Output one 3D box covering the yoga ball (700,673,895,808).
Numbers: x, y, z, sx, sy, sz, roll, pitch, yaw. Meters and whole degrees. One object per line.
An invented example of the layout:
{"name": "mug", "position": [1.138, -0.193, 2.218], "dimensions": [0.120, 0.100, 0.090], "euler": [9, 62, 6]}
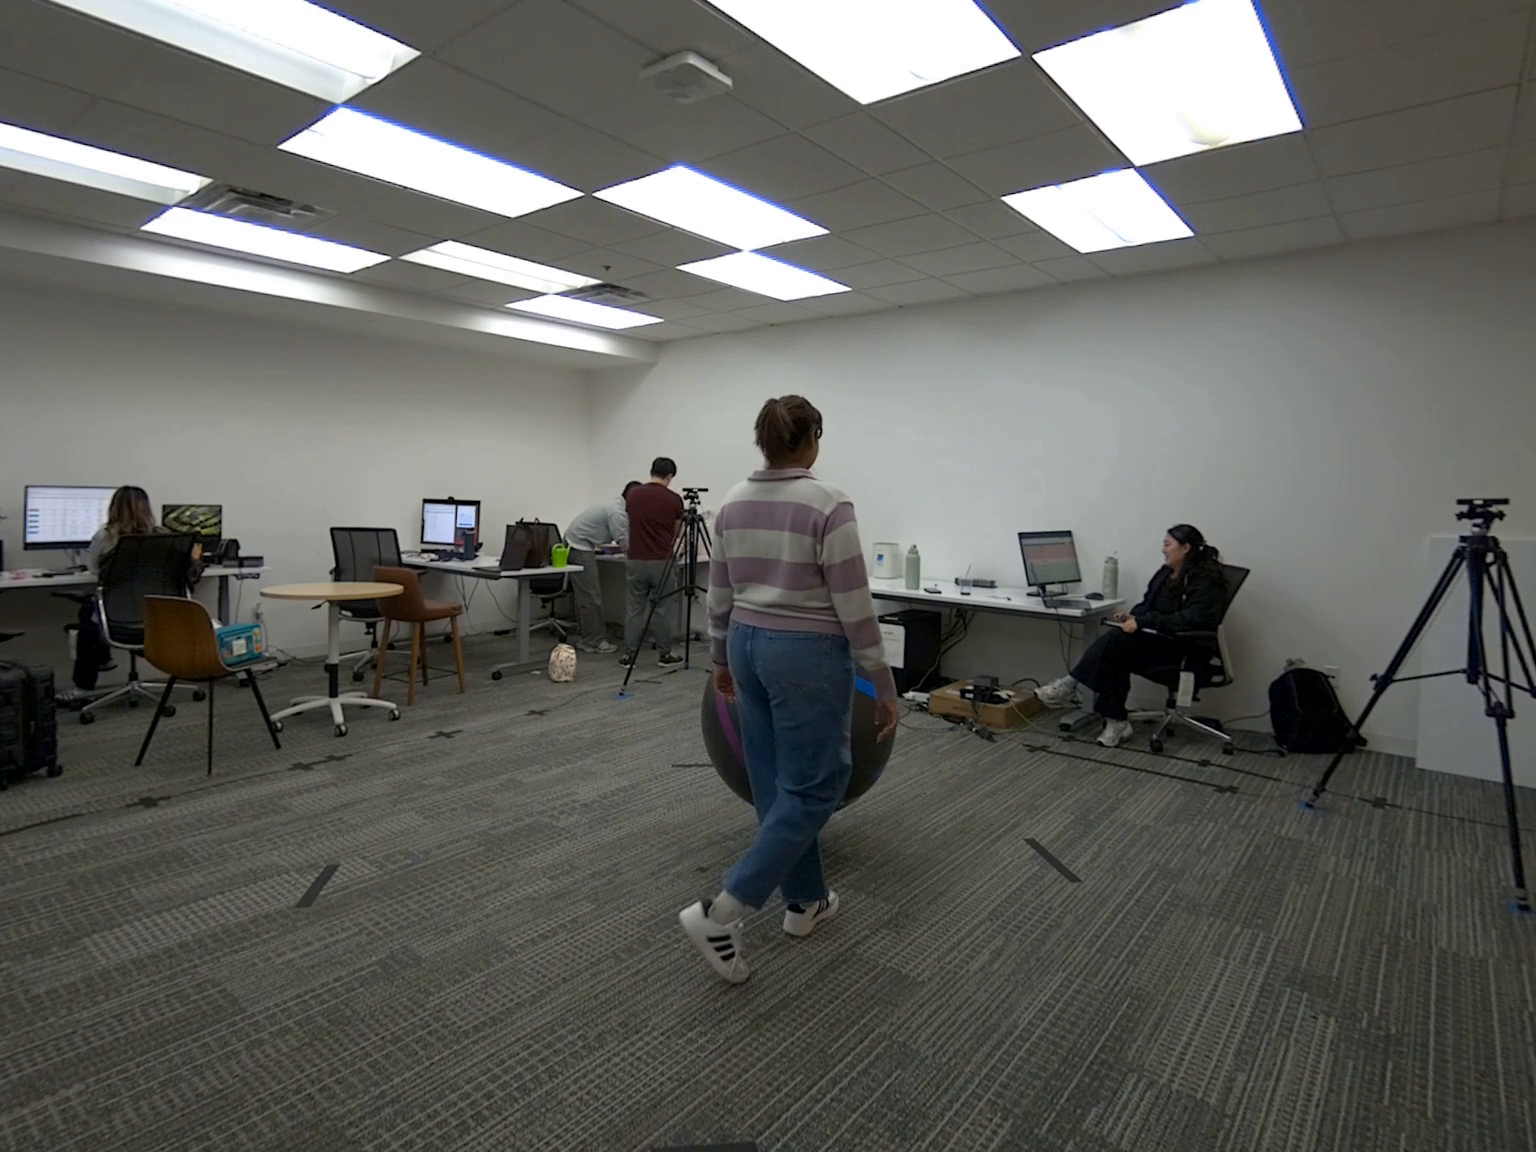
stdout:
{"name": "yoga ball", "position": [0.120, 0.550, 3.322], "dimensions": [0.757, 0.755, 0.762], "euler": [1, 4, -2]}
